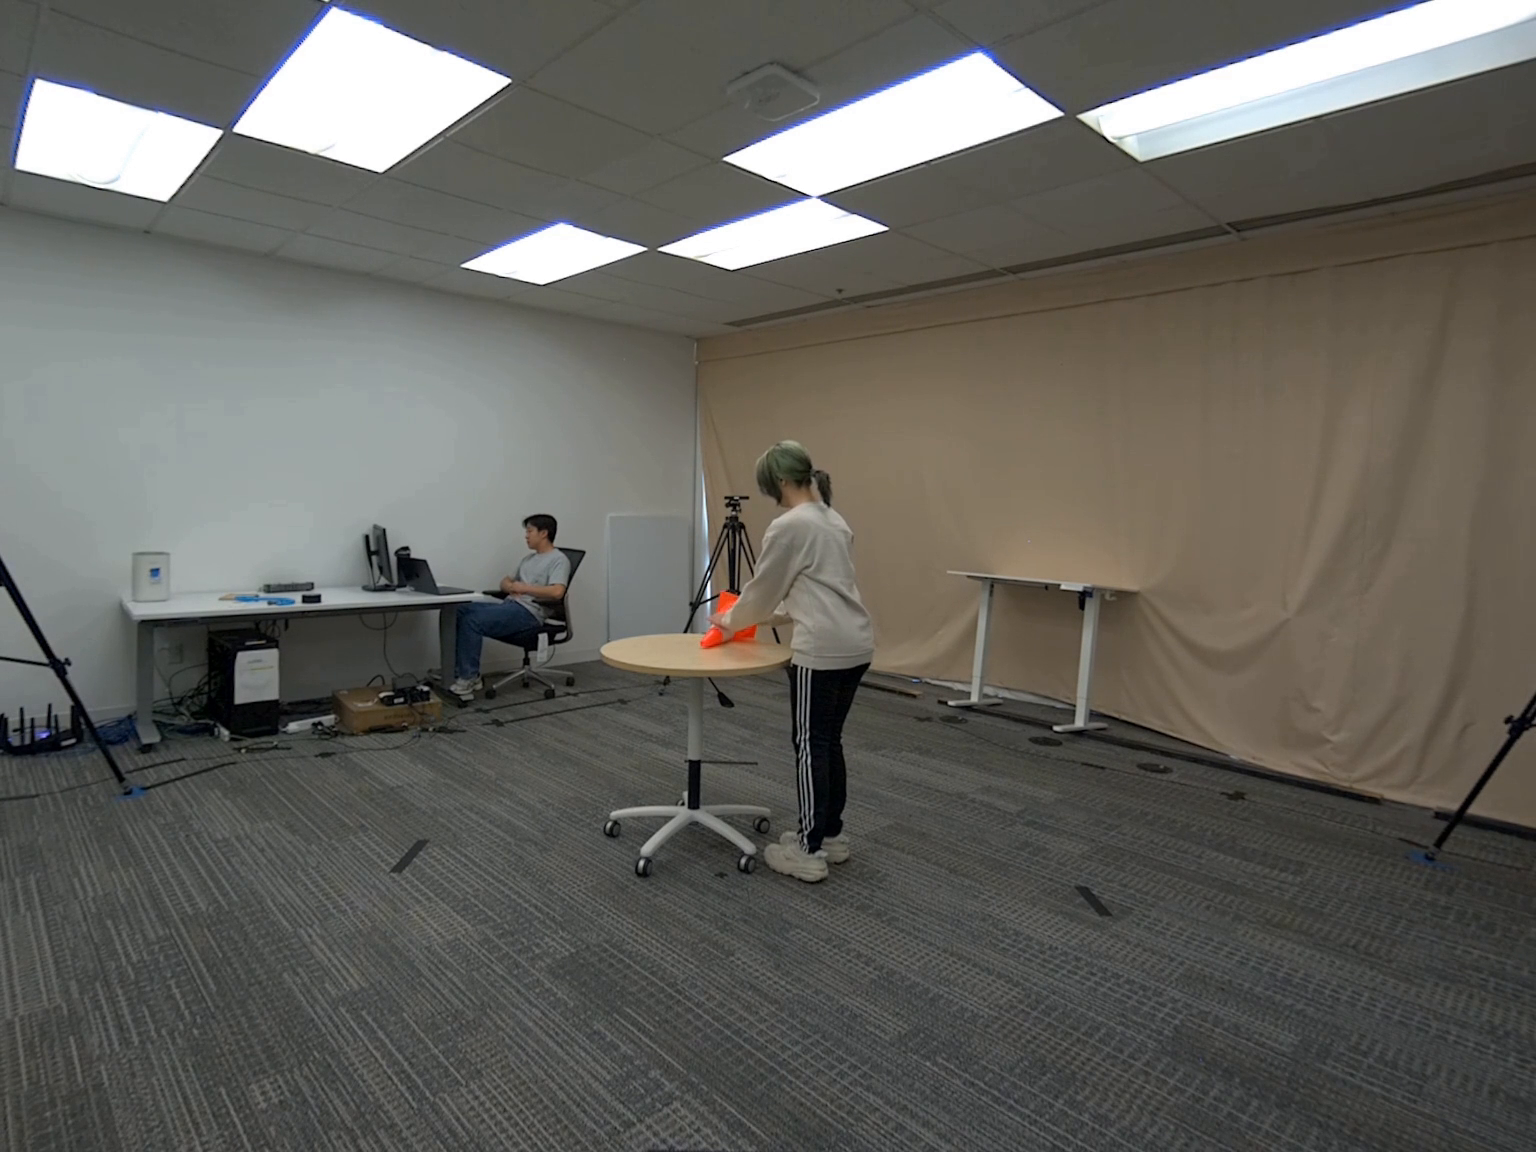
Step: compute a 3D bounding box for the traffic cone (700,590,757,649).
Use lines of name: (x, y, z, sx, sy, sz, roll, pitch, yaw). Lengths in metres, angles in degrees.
traffic cone: (-0.208, 0.231, 3.537, 0.208, 0.201, 0.381, 18, 18, 15)
